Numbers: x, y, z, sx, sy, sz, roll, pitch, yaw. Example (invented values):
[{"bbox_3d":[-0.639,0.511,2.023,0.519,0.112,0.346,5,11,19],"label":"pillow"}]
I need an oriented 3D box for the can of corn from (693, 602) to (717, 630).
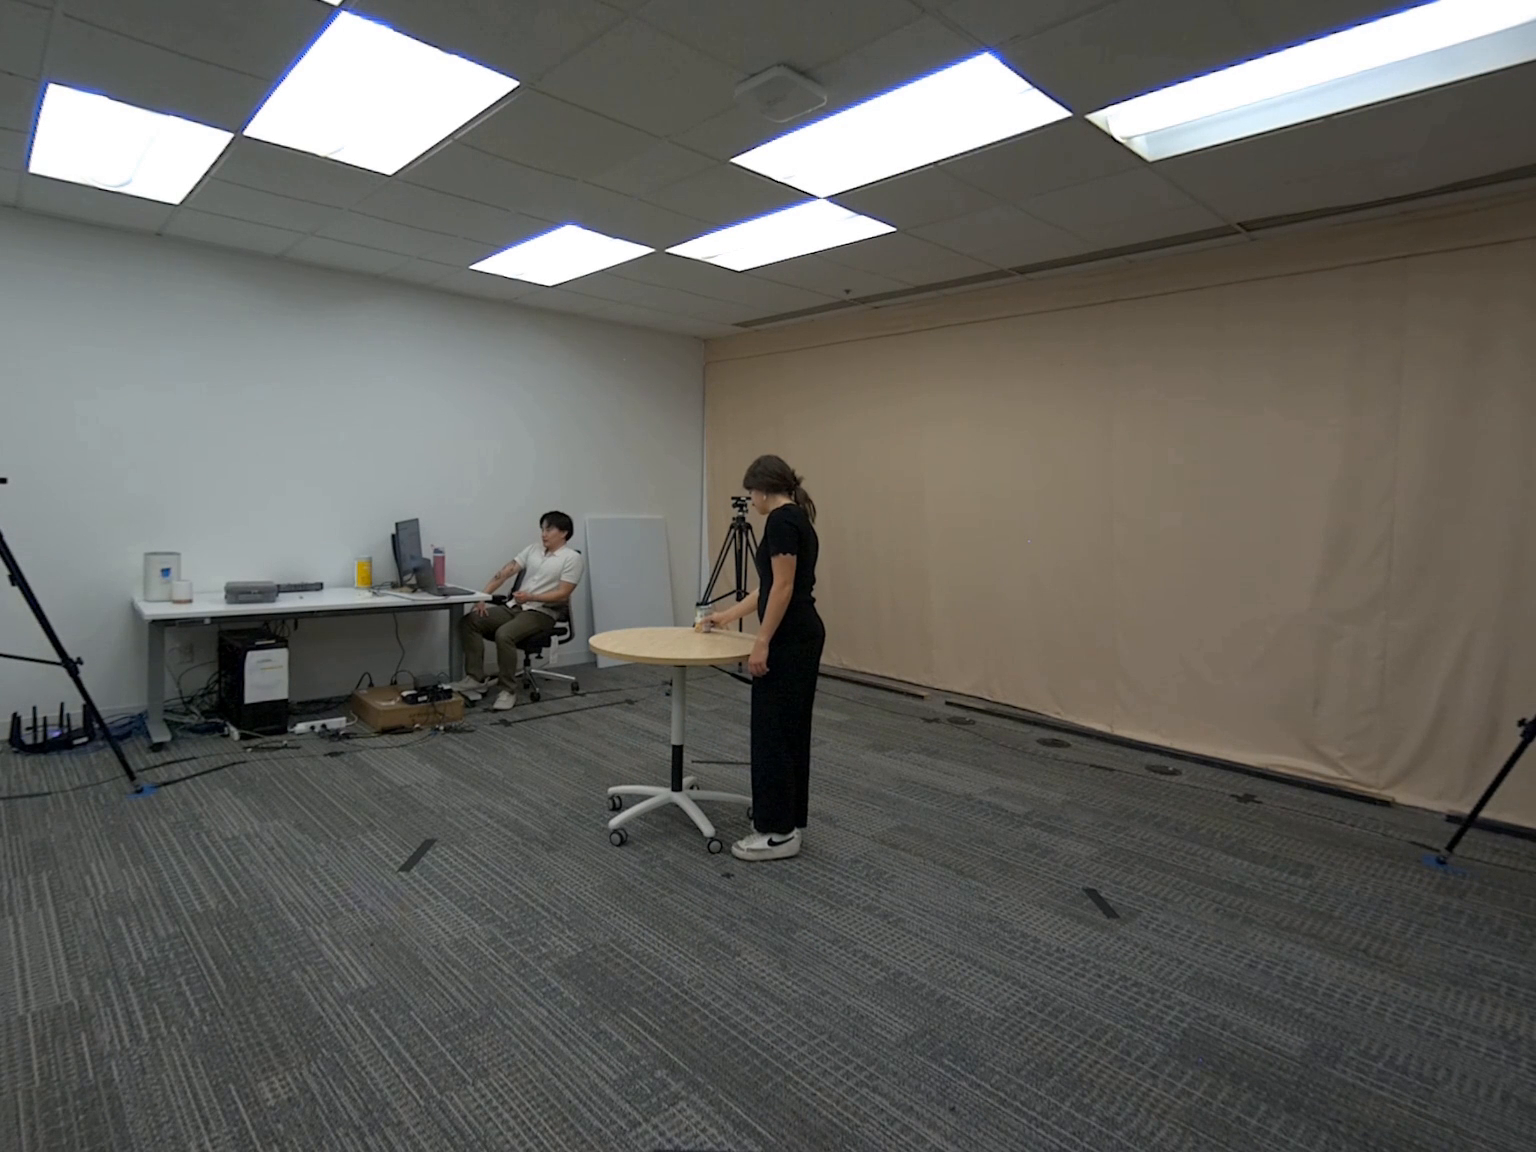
[{"bbox_3d":[-0.297,0.195,3.820,0.074,0.111,0.074,4,3,-2],"label":"can of corn"}]
